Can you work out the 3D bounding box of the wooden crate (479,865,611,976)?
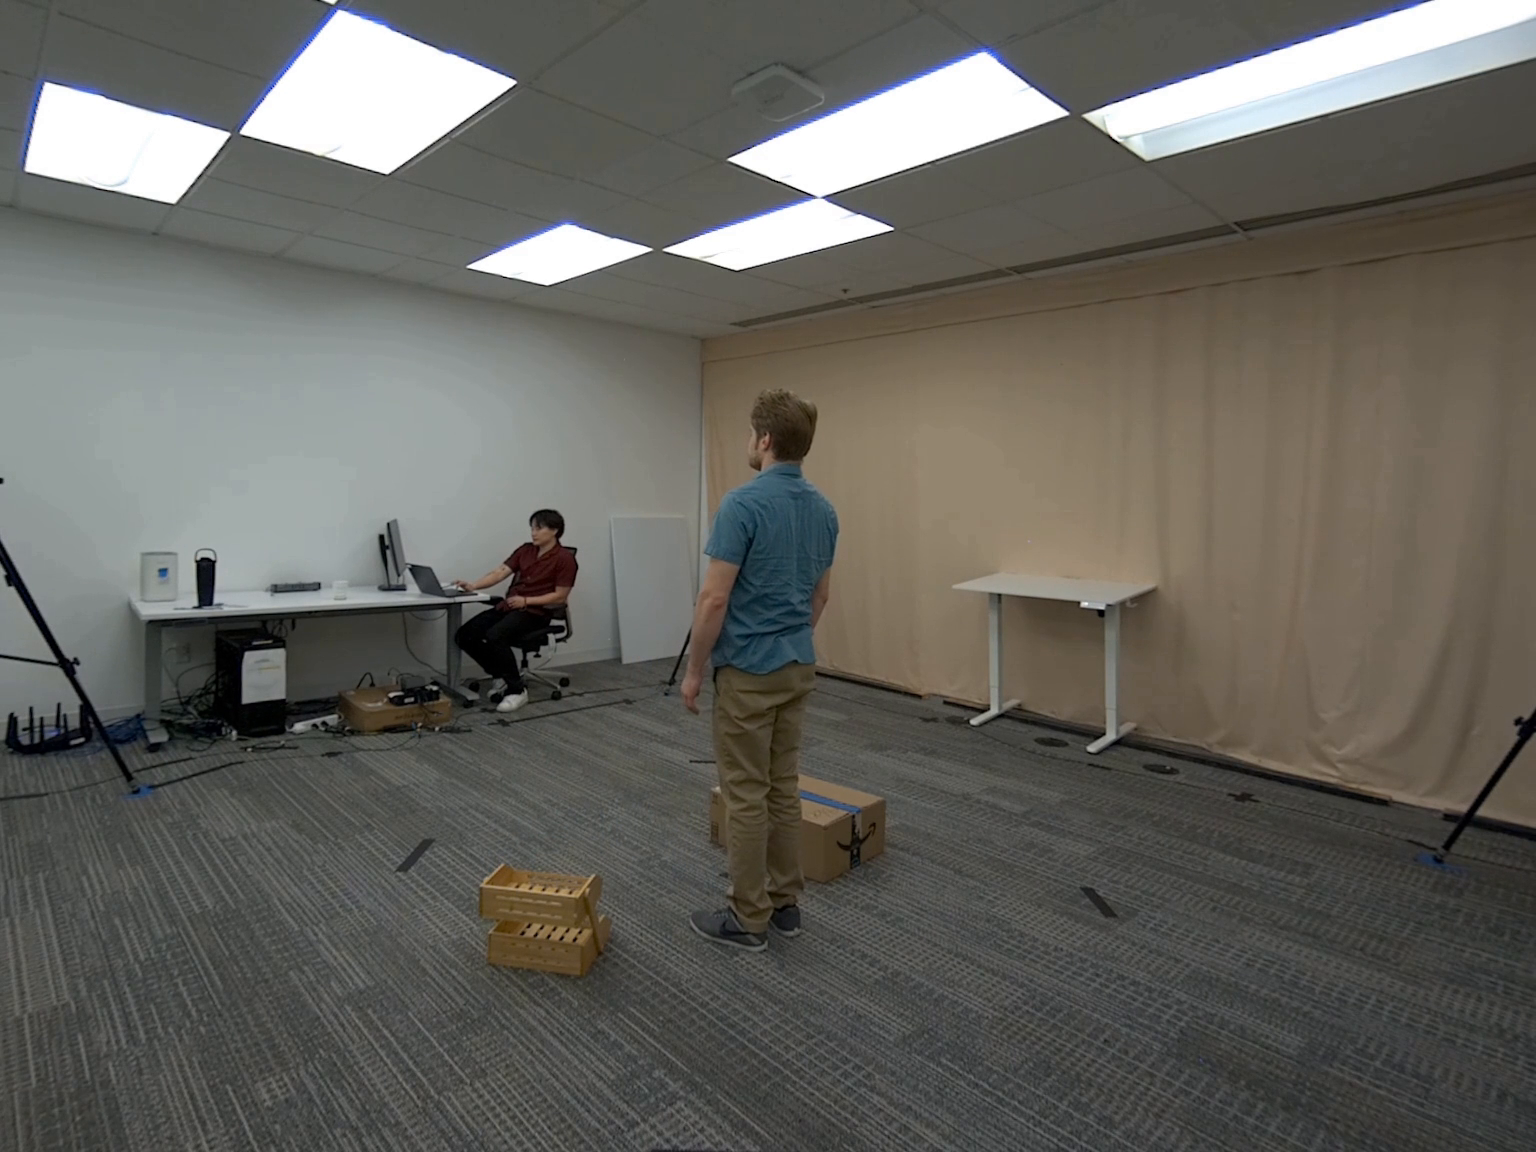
[{"bbox_3d":[-0.670,1.009,2.548,0.327,0.272,0.300,2,5,9],"label":"wooden crate"}]
